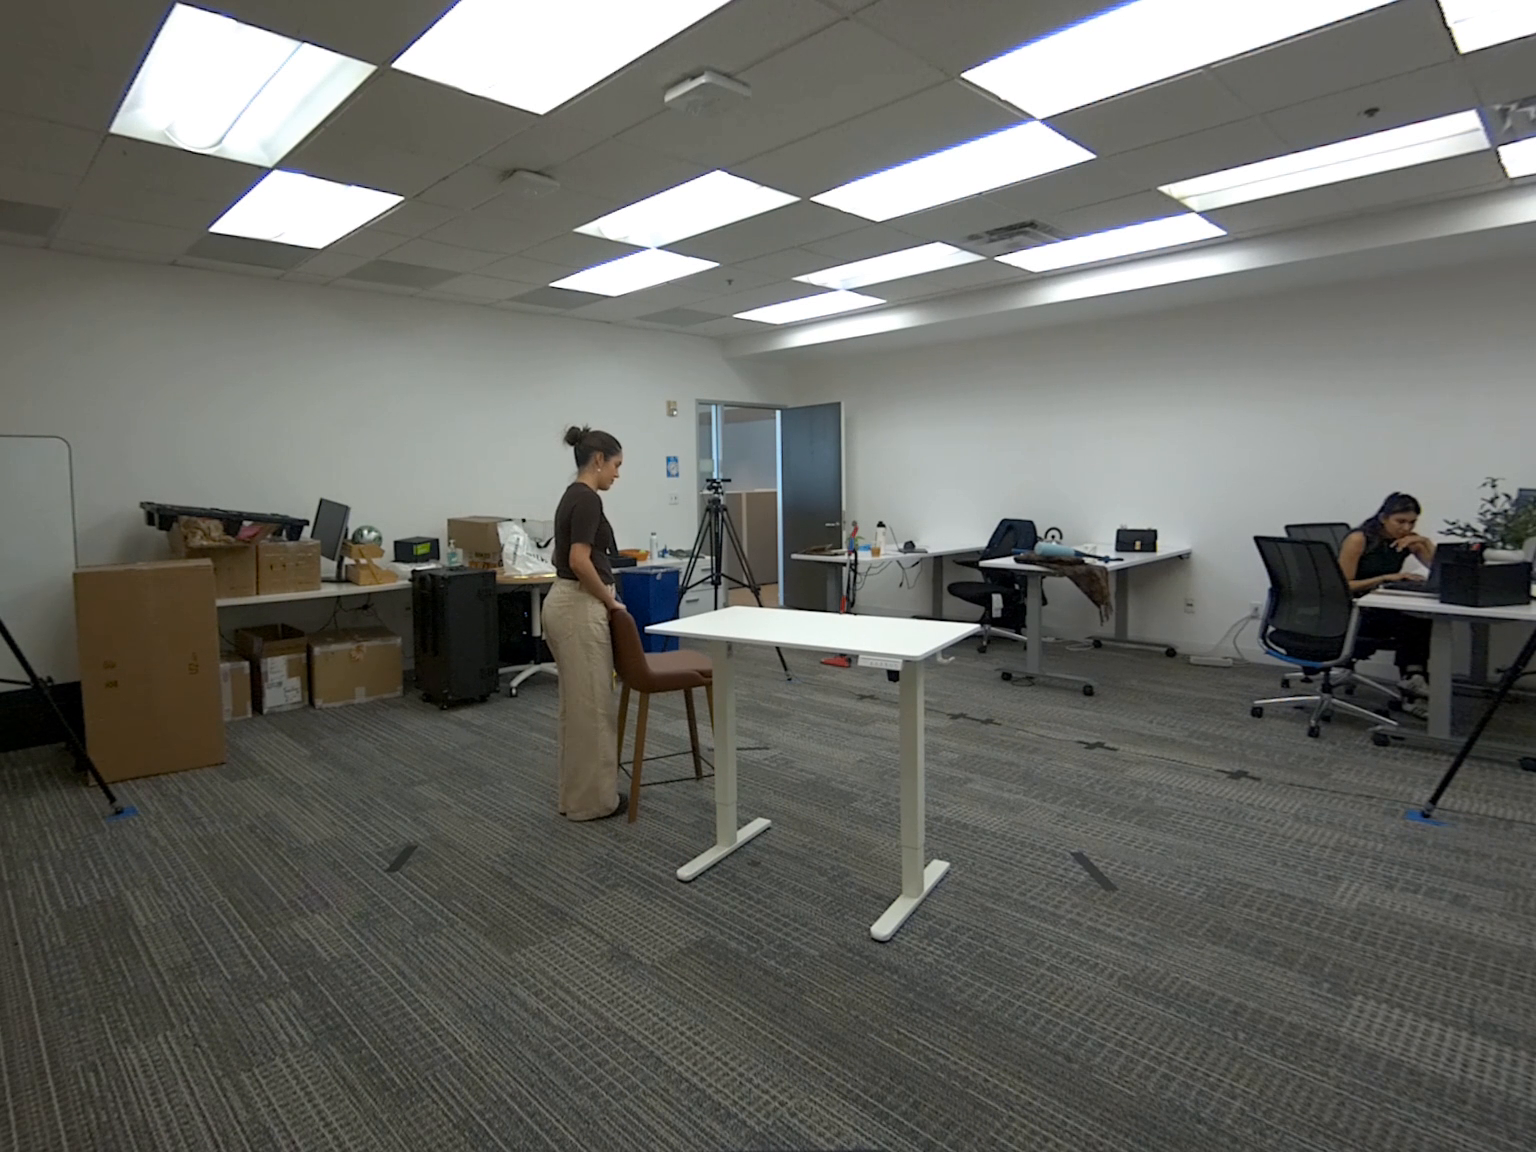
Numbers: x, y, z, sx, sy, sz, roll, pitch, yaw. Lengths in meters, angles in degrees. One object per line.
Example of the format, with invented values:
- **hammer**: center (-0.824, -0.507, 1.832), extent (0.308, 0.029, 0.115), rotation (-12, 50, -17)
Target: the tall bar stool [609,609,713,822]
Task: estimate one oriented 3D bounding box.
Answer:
- **tall bar stool**: center (-0.453, 0.541, 3.717), extent (0.459, 0.886, 0.467), rotation (-4, 5, -22)
